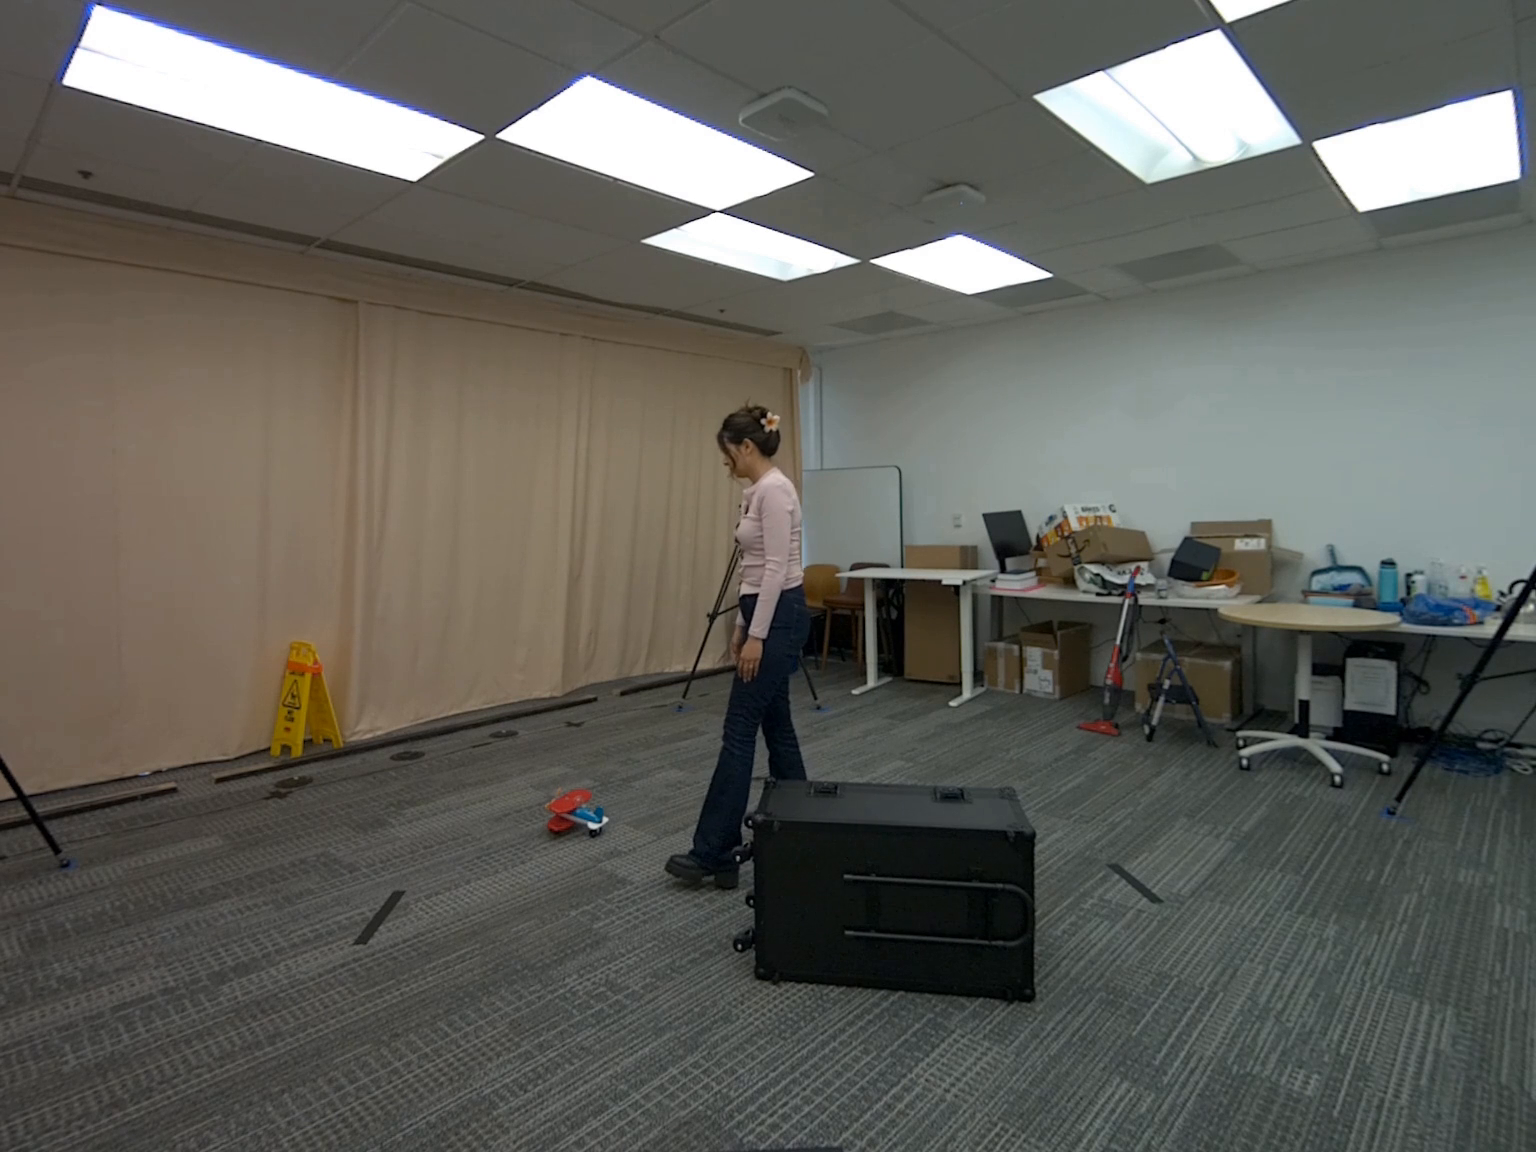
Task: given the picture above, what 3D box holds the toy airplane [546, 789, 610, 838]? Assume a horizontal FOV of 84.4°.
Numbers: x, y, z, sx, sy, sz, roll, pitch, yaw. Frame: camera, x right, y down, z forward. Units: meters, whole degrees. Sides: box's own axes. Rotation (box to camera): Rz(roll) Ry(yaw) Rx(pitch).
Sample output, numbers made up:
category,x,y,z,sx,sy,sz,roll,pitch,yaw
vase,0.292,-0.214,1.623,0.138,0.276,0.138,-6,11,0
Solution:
category,x,y,z,sx,sy,sz,roll,pitch,yaw
toy airplane,-0.817,1.035,3.644,0.258,0.156,0.253,-2,4,-6
